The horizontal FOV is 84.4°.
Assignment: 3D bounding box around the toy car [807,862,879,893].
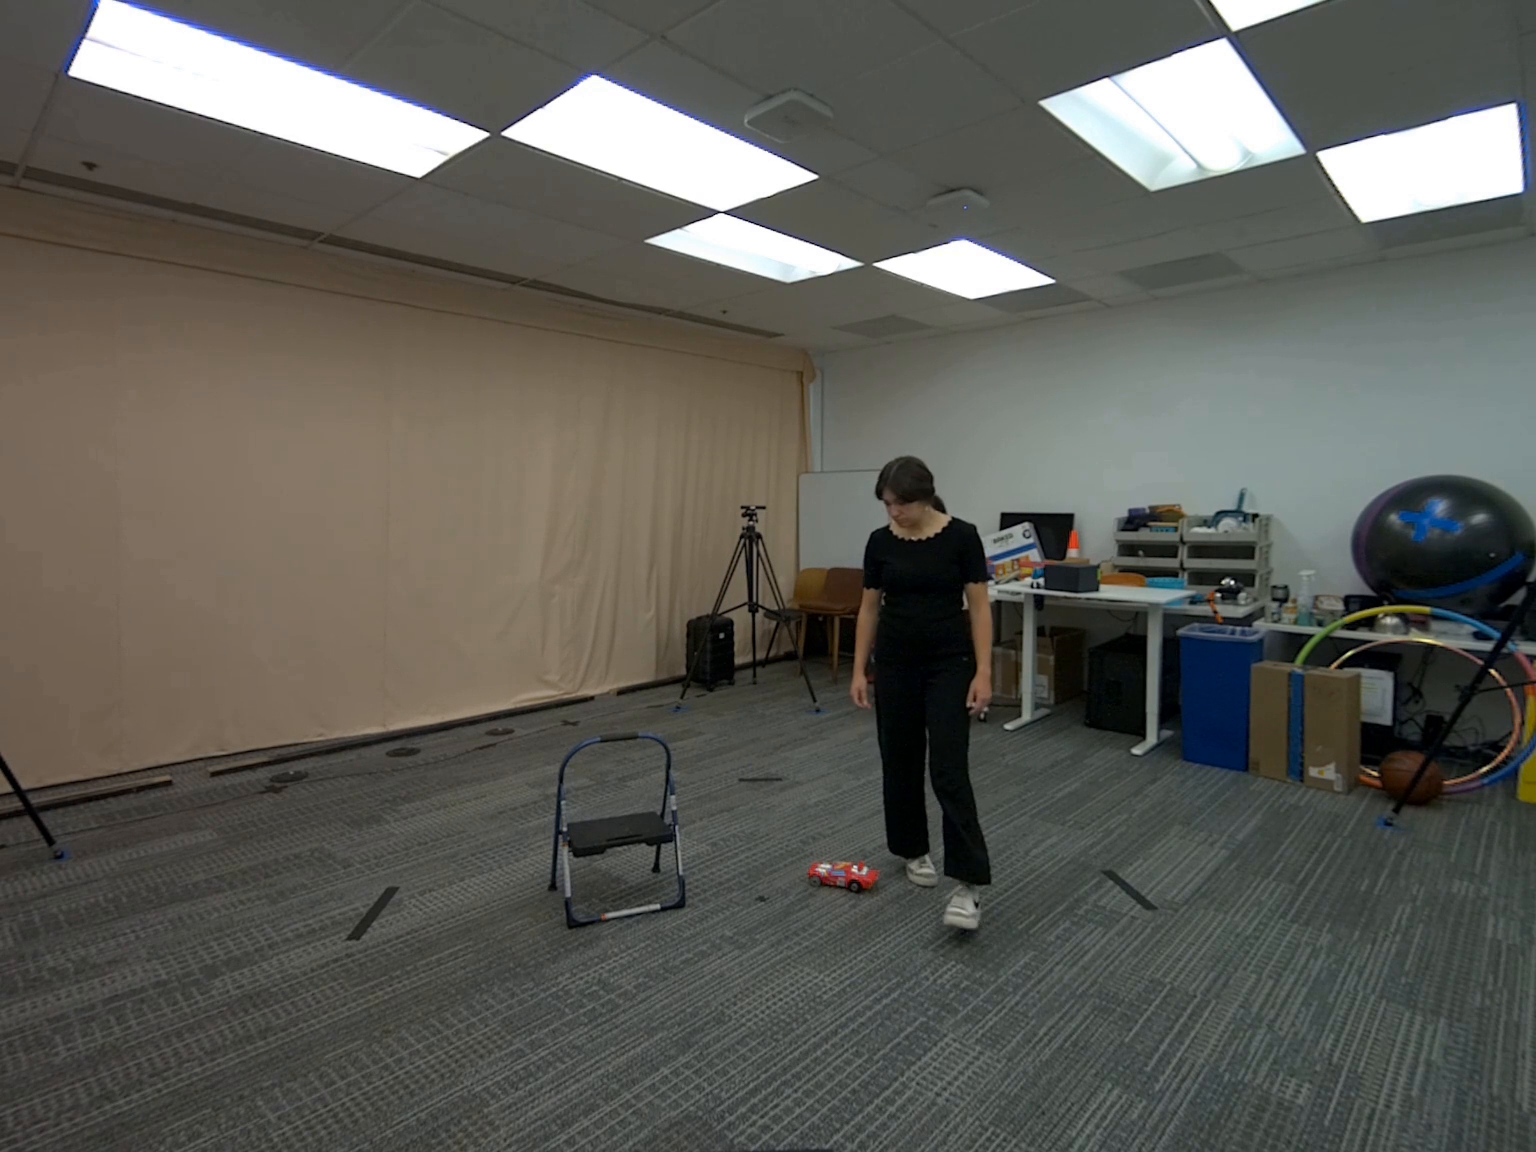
[{"bbox_3d":[0.293,1.112,3.087,0.259,0.083,0.127,-9,-1,21],"label":"toy car"}]
